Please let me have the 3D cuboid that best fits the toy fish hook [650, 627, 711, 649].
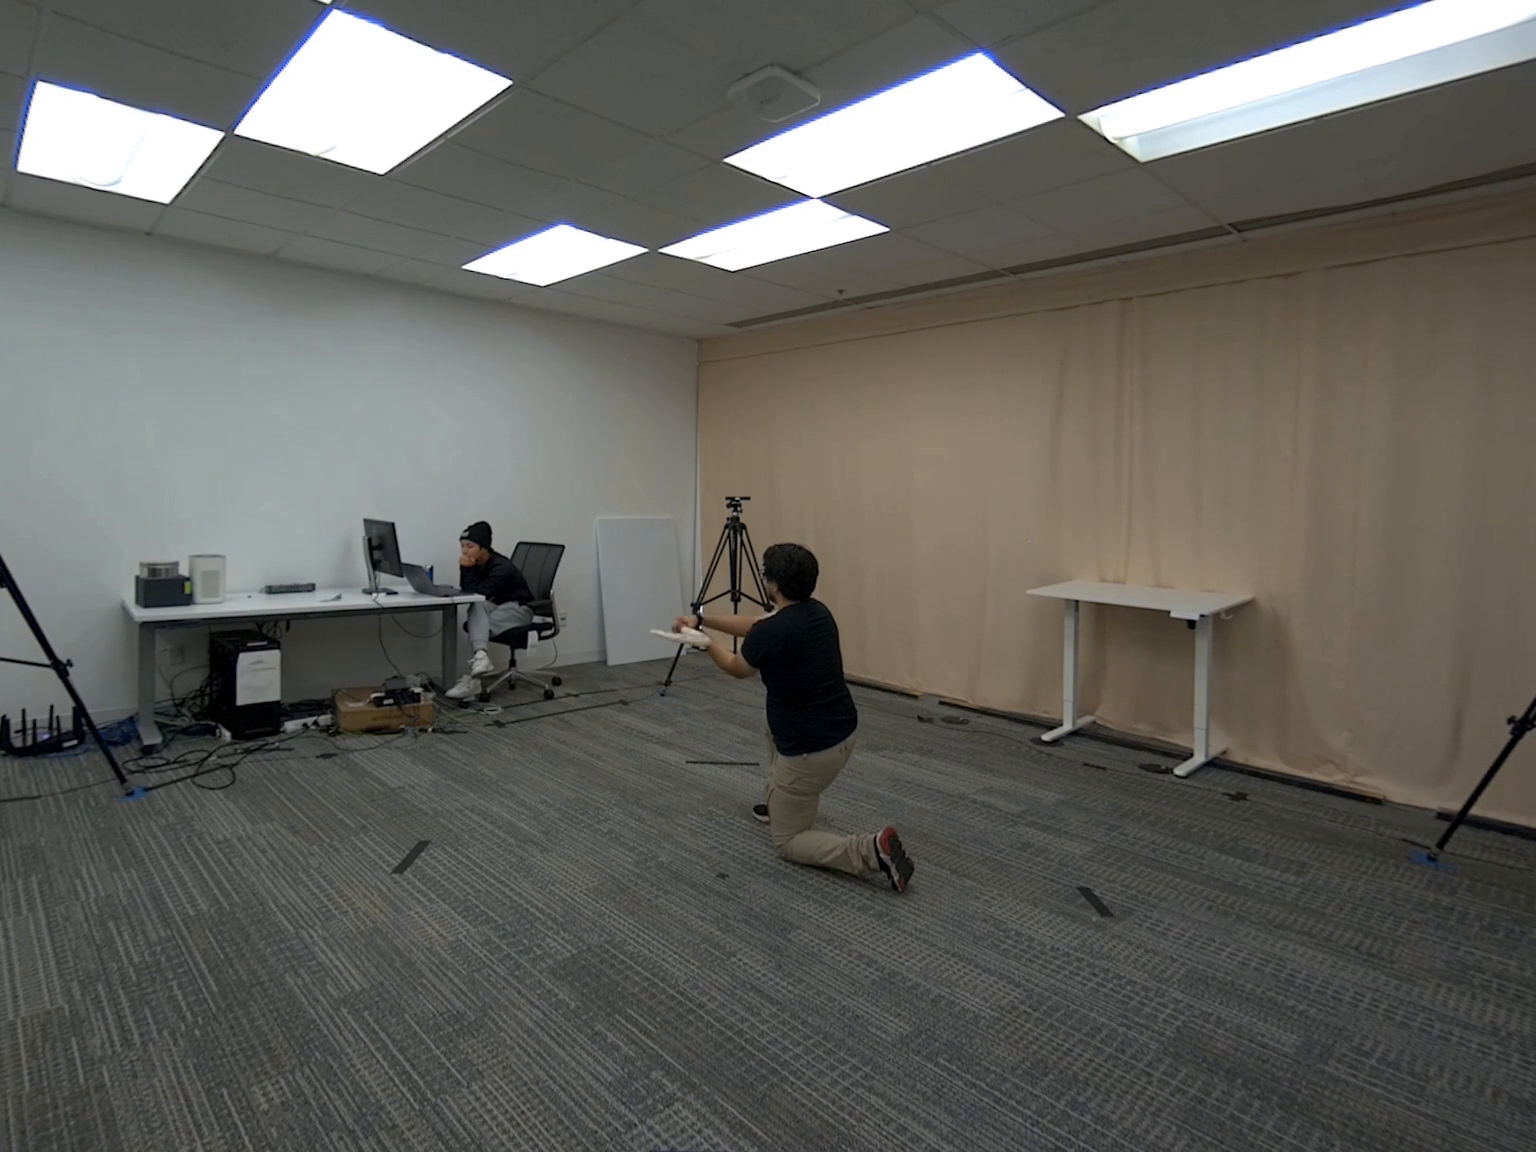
[{"bbox_3d":[-0.374,0.217,3.341,0.222,0.048,0.513,14,1,-14],"label":"toy fish hook"}]
